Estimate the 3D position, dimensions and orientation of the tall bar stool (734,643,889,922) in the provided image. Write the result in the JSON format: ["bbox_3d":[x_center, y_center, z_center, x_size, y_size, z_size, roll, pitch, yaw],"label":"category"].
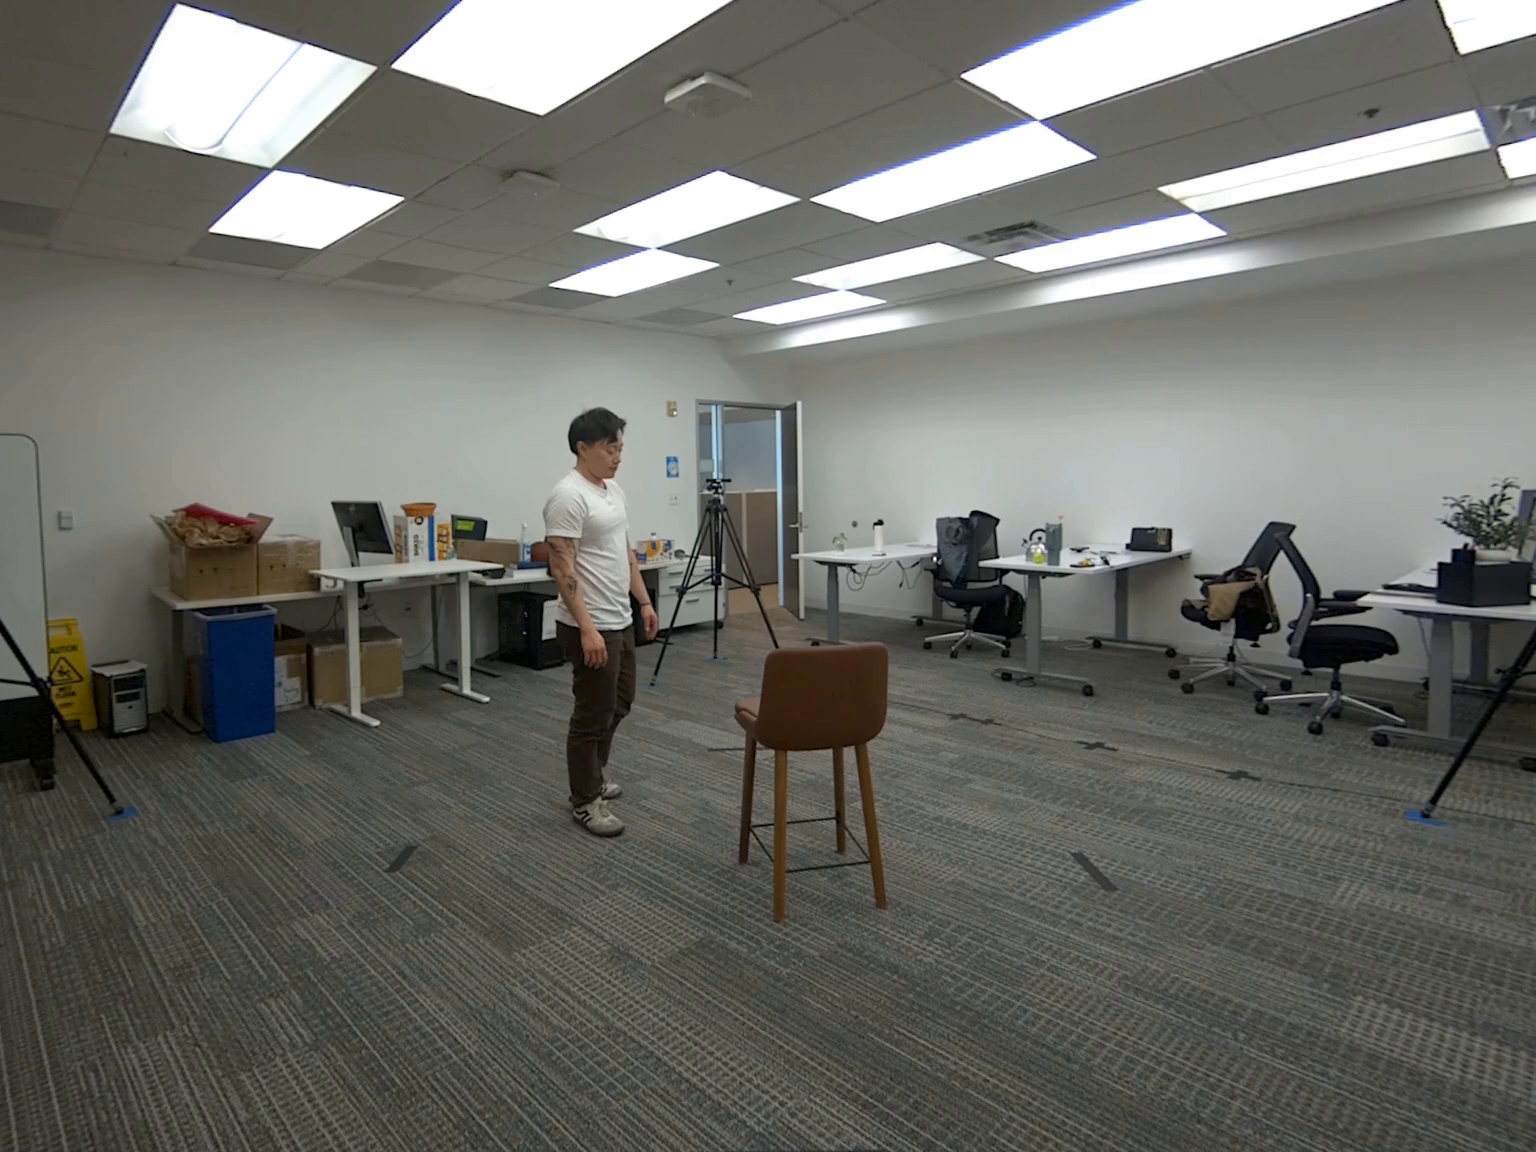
[{"bbox_3d":[0.143,0.627,2.913,0.451,0.885,0.476,-2,6,-14],"label":"tall bar stool"}]
